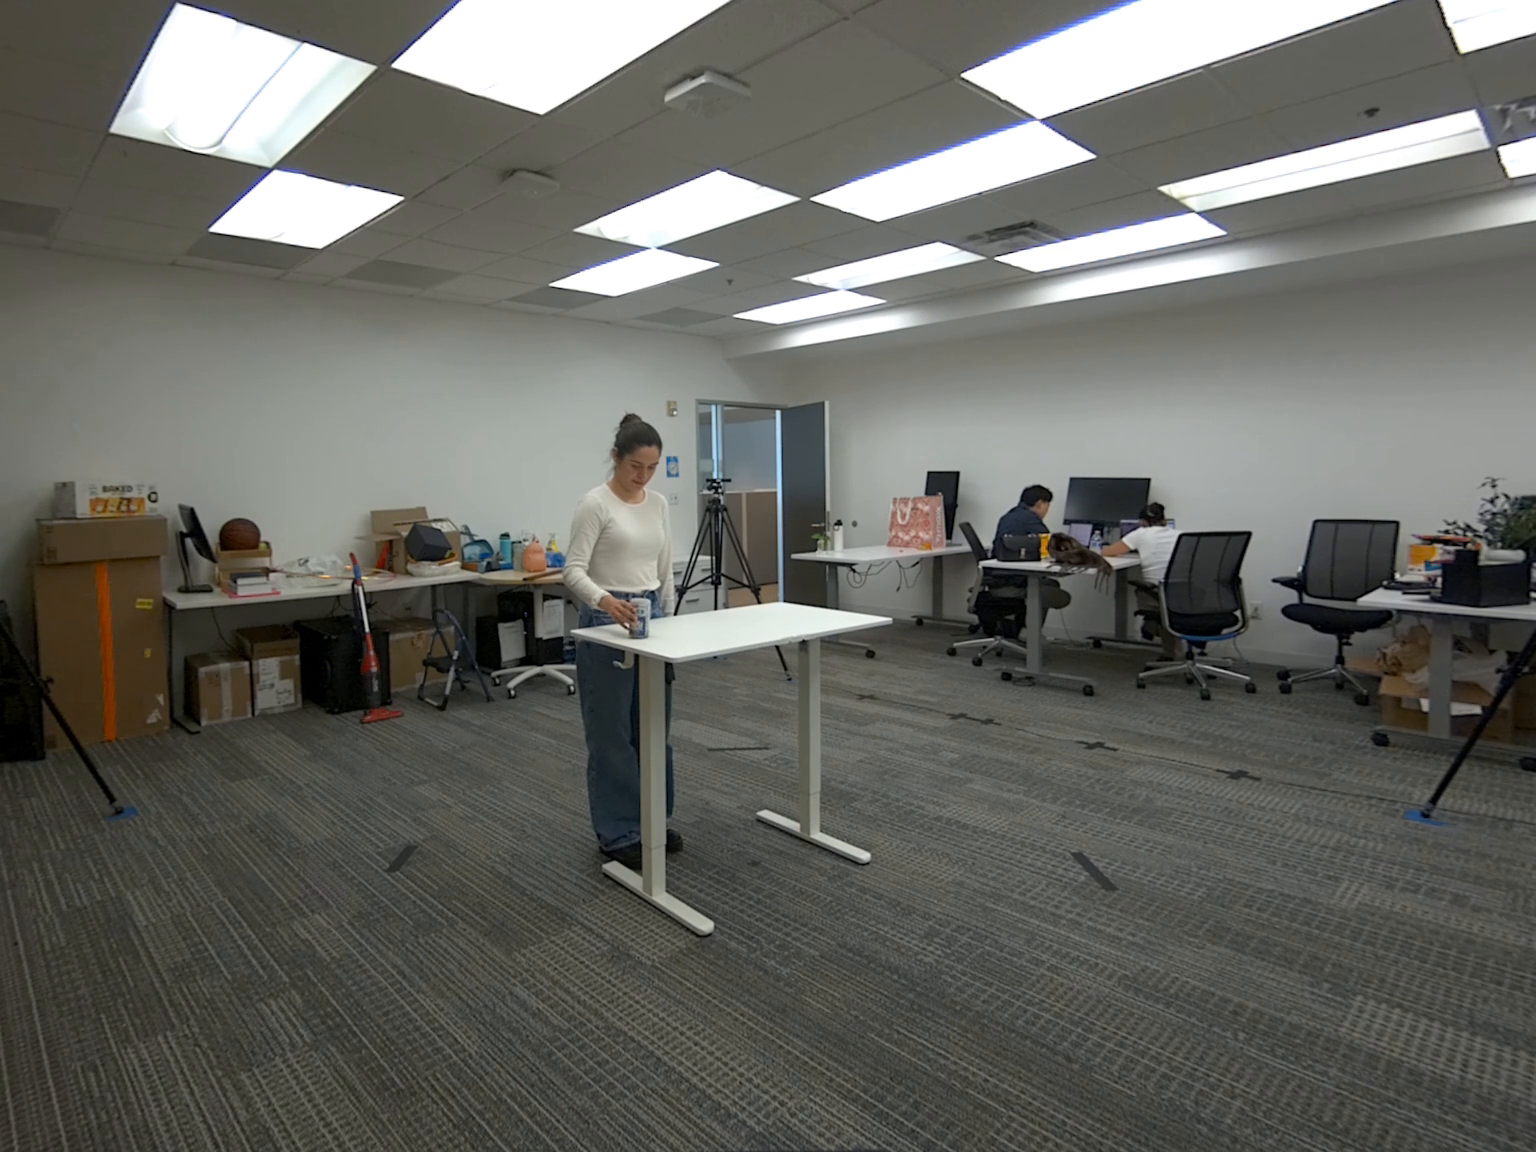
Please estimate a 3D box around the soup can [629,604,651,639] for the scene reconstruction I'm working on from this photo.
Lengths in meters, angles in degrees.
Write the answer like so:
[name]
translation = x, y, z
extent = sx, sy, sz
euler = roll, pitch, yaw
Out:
[soup can]
translation = -0.434, 0.166, 2.823
extent = 0.067, 0.066, 0.122
euler = -1, 10, -2
